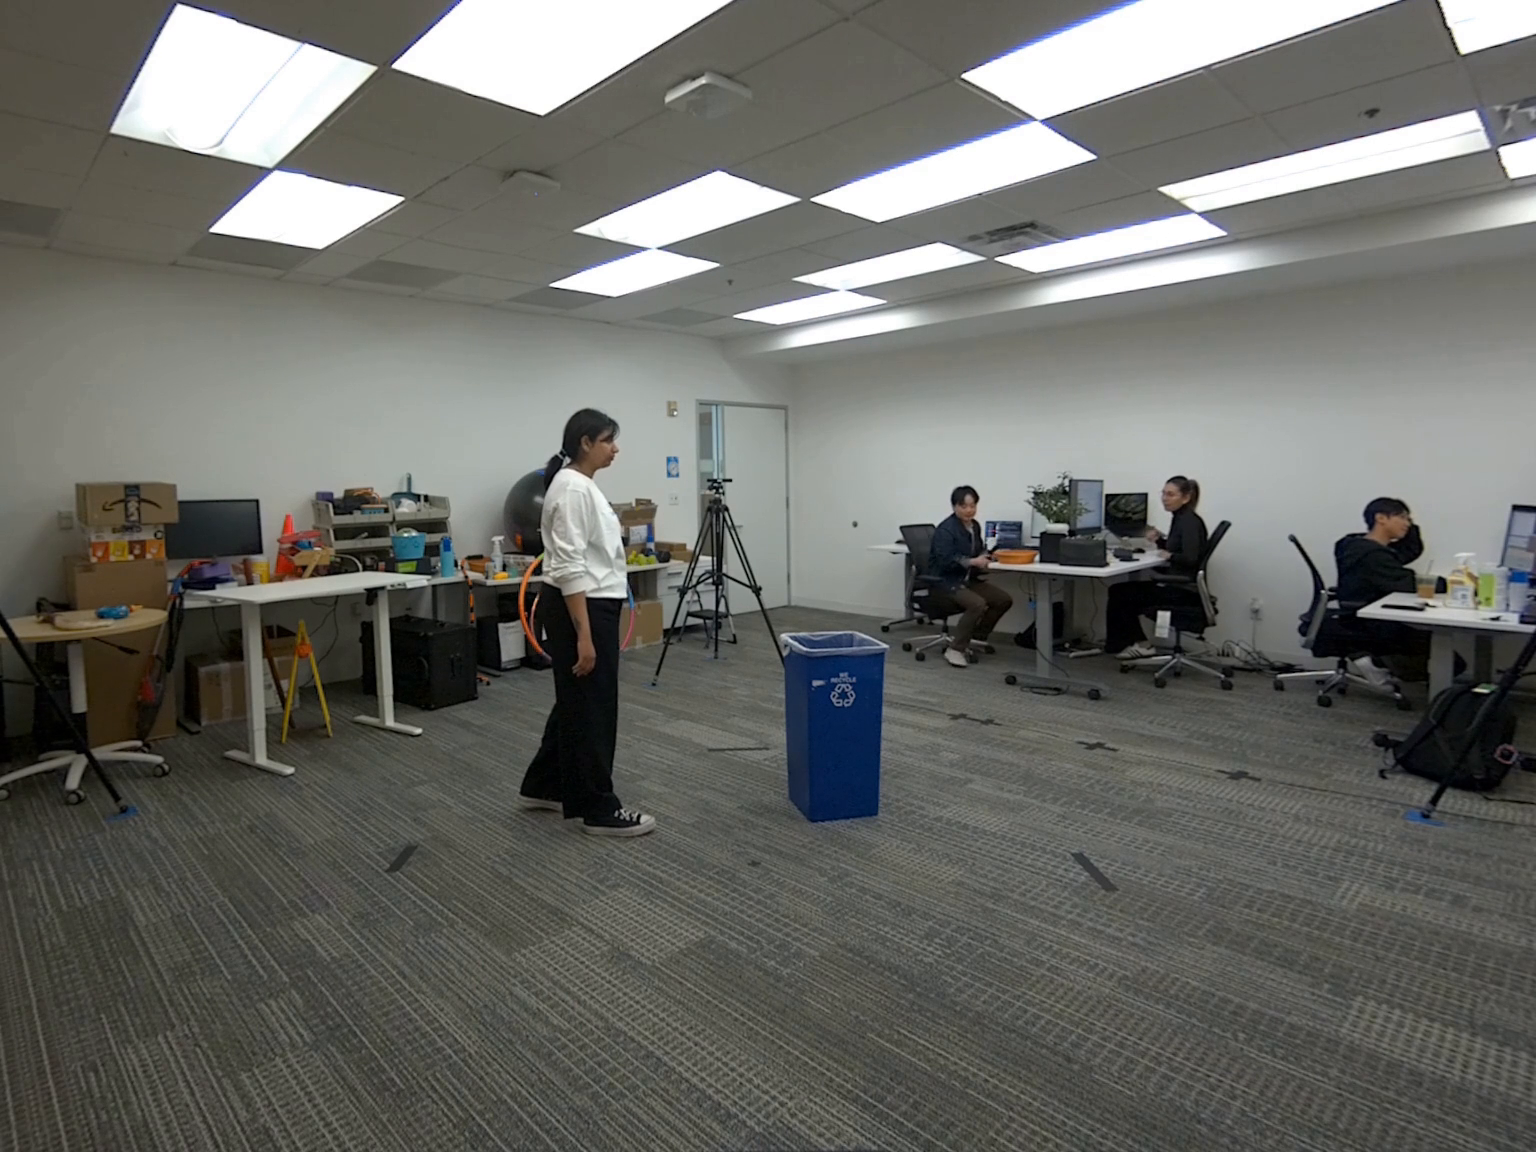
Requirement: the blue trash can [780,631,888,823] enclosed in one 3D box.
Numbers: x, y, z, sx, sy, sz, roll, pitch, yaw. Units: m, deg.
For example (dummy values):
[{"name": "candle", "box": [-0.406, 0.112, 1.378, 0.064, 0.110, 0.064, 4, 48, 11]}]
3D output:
[{"name": "blue trash can", "box": [0.274, 0.621, 3.616, 0.369, 0.711, 0.384, -1, 4, -15]}]
